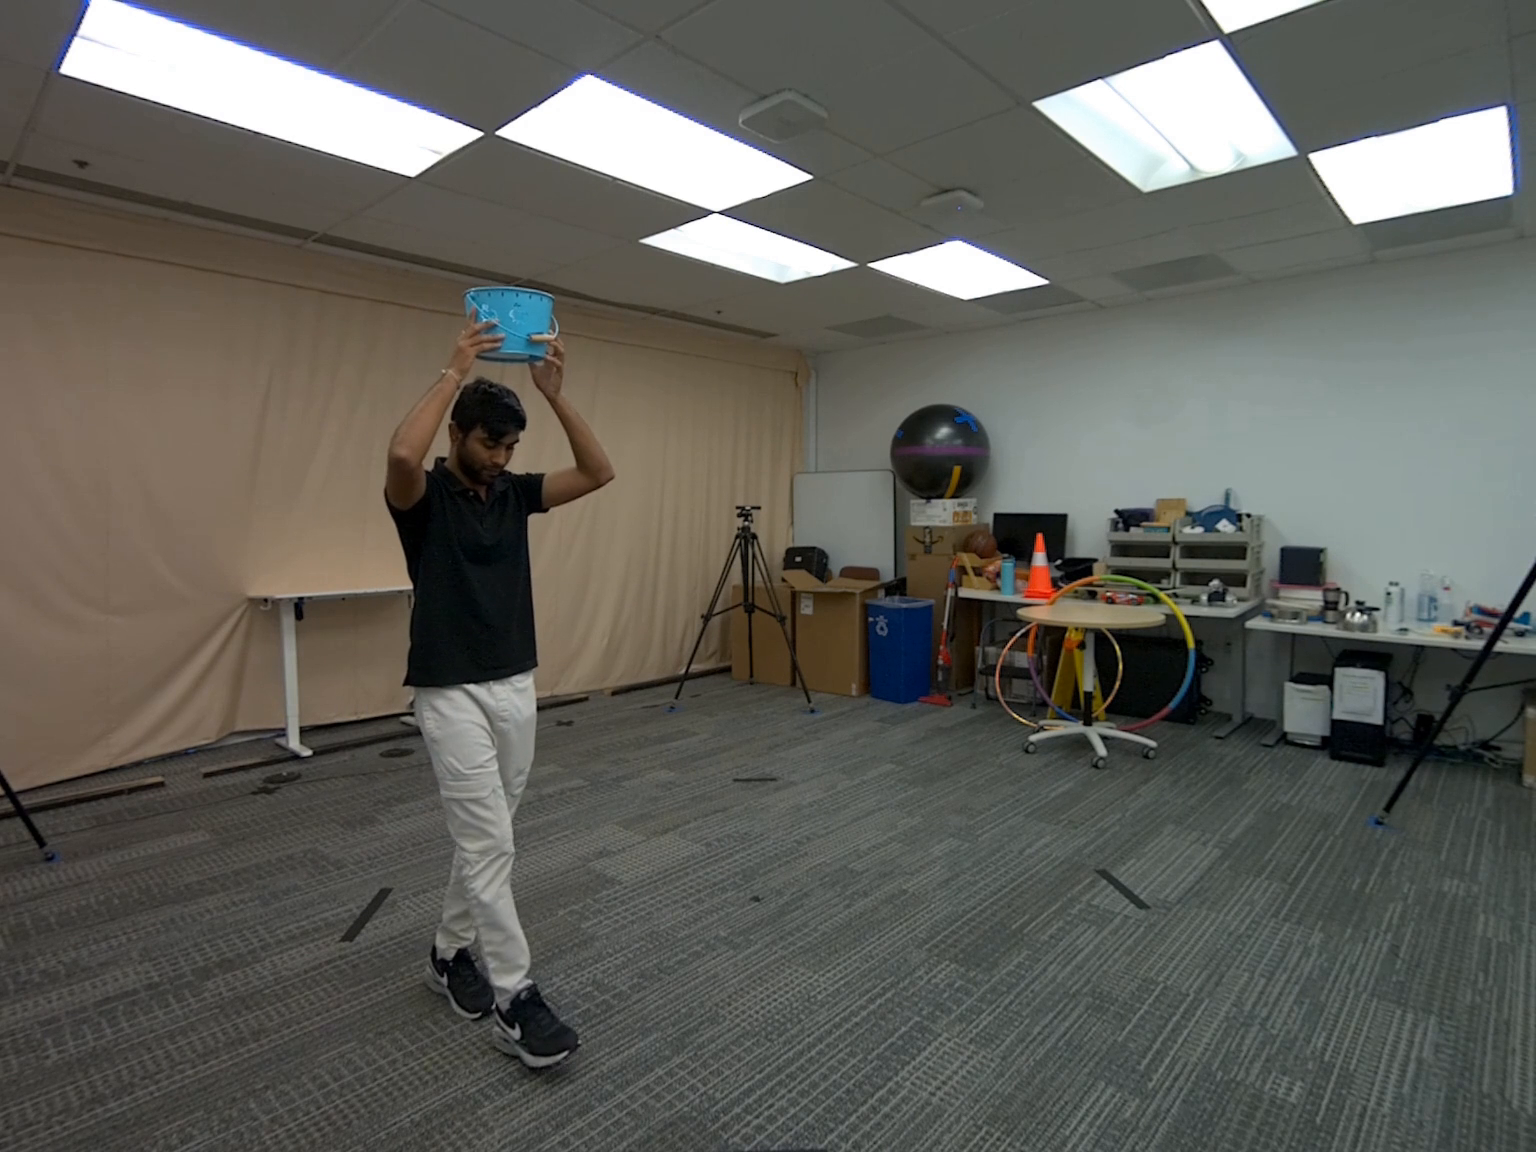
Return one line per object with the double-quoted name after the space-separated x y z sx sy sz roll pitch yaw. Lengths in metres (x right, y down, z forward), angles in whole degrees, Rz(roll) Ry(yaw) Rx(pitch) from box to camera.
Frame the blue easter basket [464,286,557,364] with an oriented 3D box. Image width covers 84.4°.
-0.669 -0.639 2.135 0.243 0.155 0.245 -1 6 -2 "blue easter basket"
